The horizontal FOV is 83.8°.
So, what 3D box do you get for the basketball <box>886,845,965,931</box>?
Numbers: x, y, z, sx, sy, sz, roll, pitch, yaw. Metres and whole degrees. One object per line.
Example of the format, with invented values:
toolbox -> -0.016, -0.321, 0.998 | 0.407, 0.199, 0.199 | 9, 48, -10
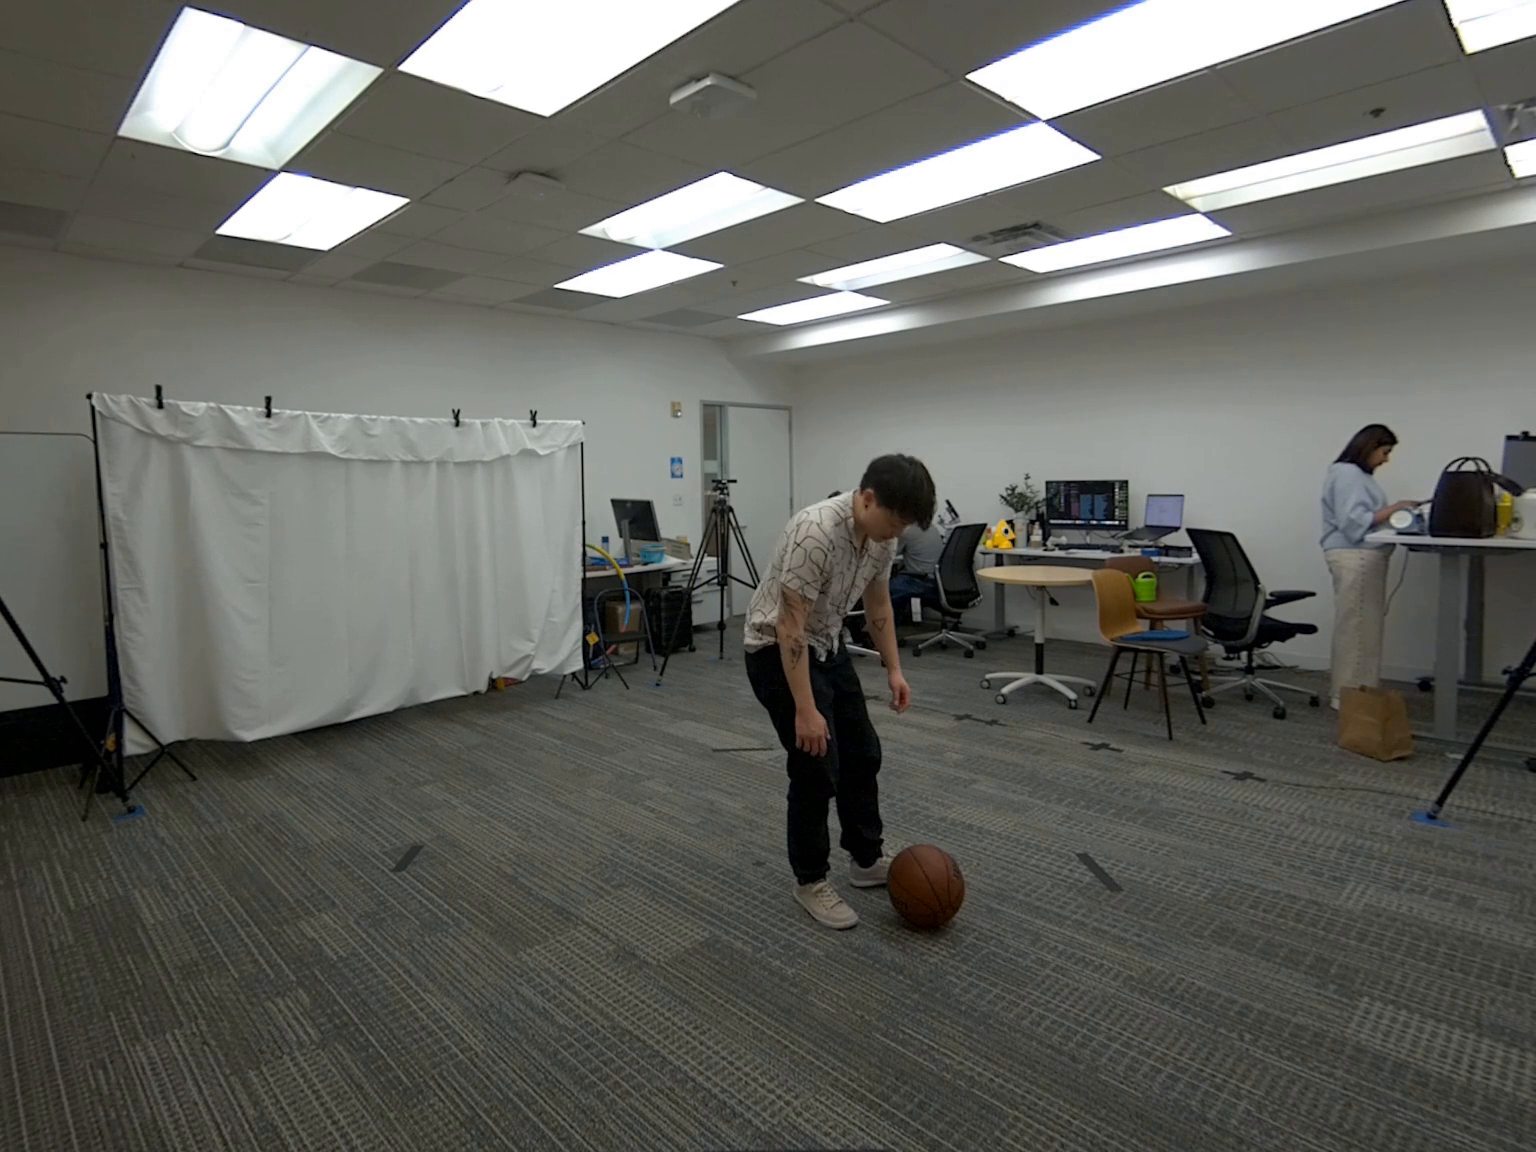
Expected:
basketball -> 0.500, 0.968, 2.670 | 0.236, 0.235, 0.237 | -1, 5, -2
